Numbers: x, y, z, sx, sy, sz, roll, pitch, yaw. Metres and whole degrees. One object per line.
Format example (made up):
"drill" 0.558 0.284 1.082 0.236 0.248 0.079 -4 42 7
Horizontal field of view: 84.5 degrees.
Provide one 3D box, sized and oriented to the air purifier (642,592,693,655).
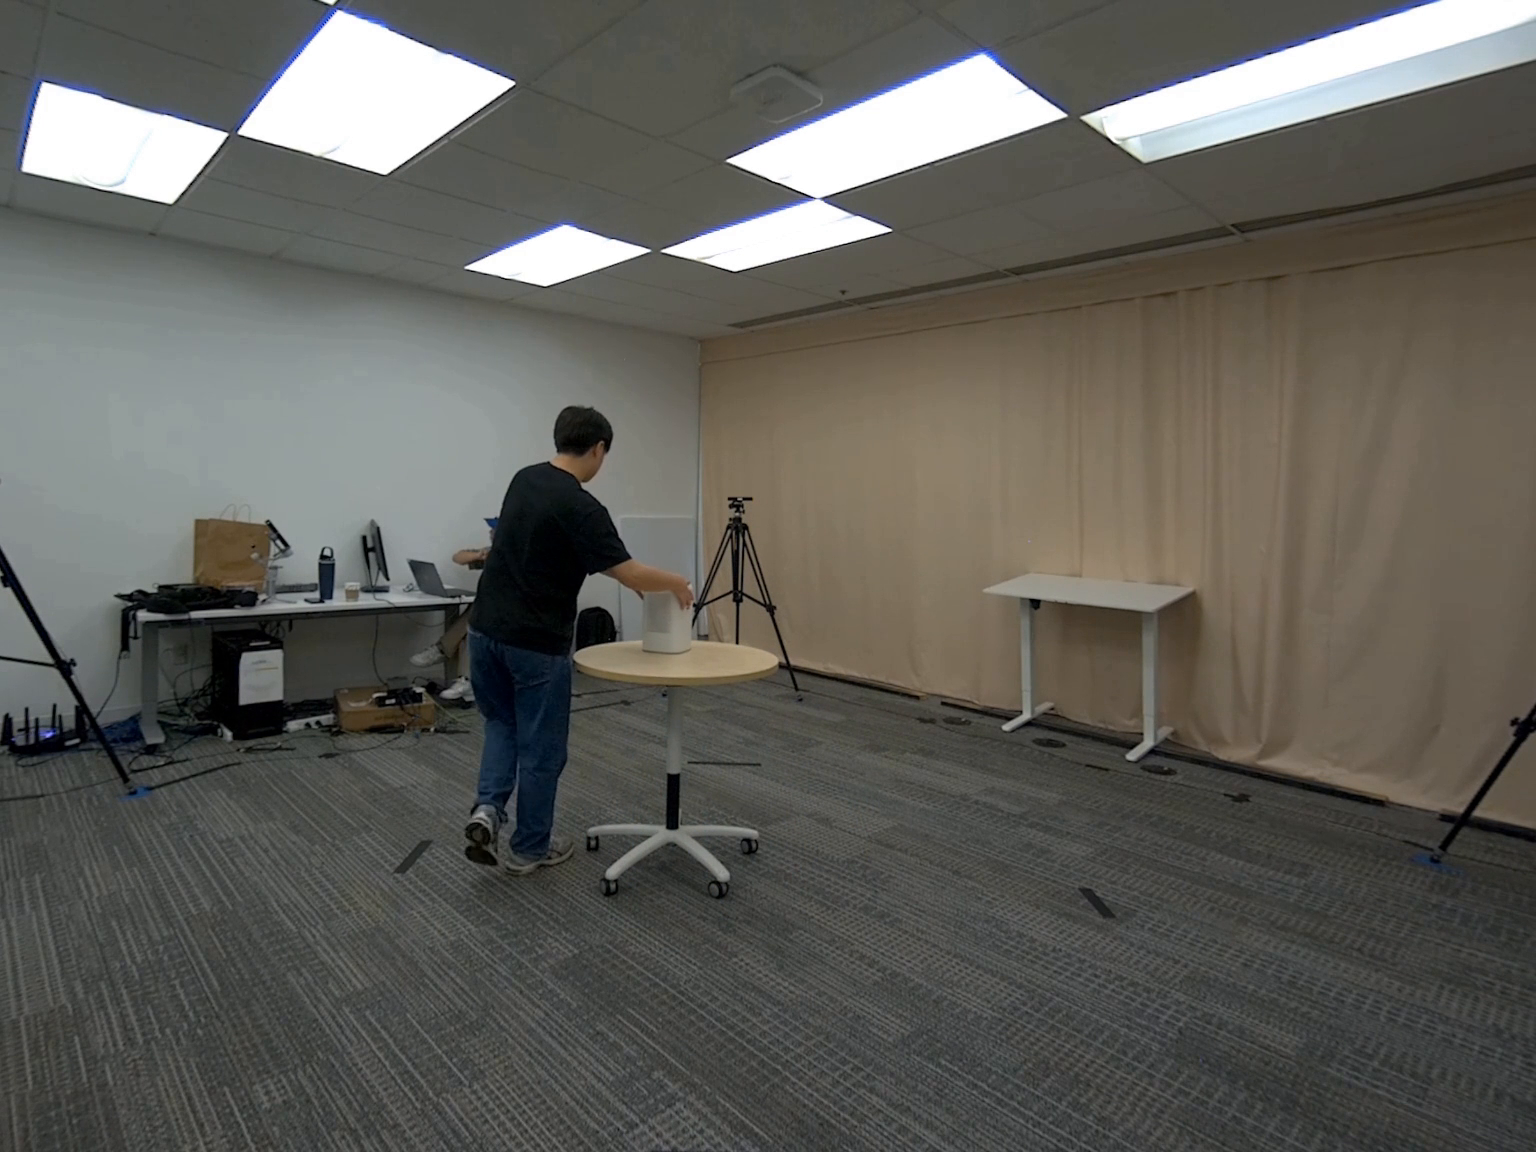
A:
"air purifier" -0.404 0.155 3.287 0.174 0.264 0.169 2 5 18
